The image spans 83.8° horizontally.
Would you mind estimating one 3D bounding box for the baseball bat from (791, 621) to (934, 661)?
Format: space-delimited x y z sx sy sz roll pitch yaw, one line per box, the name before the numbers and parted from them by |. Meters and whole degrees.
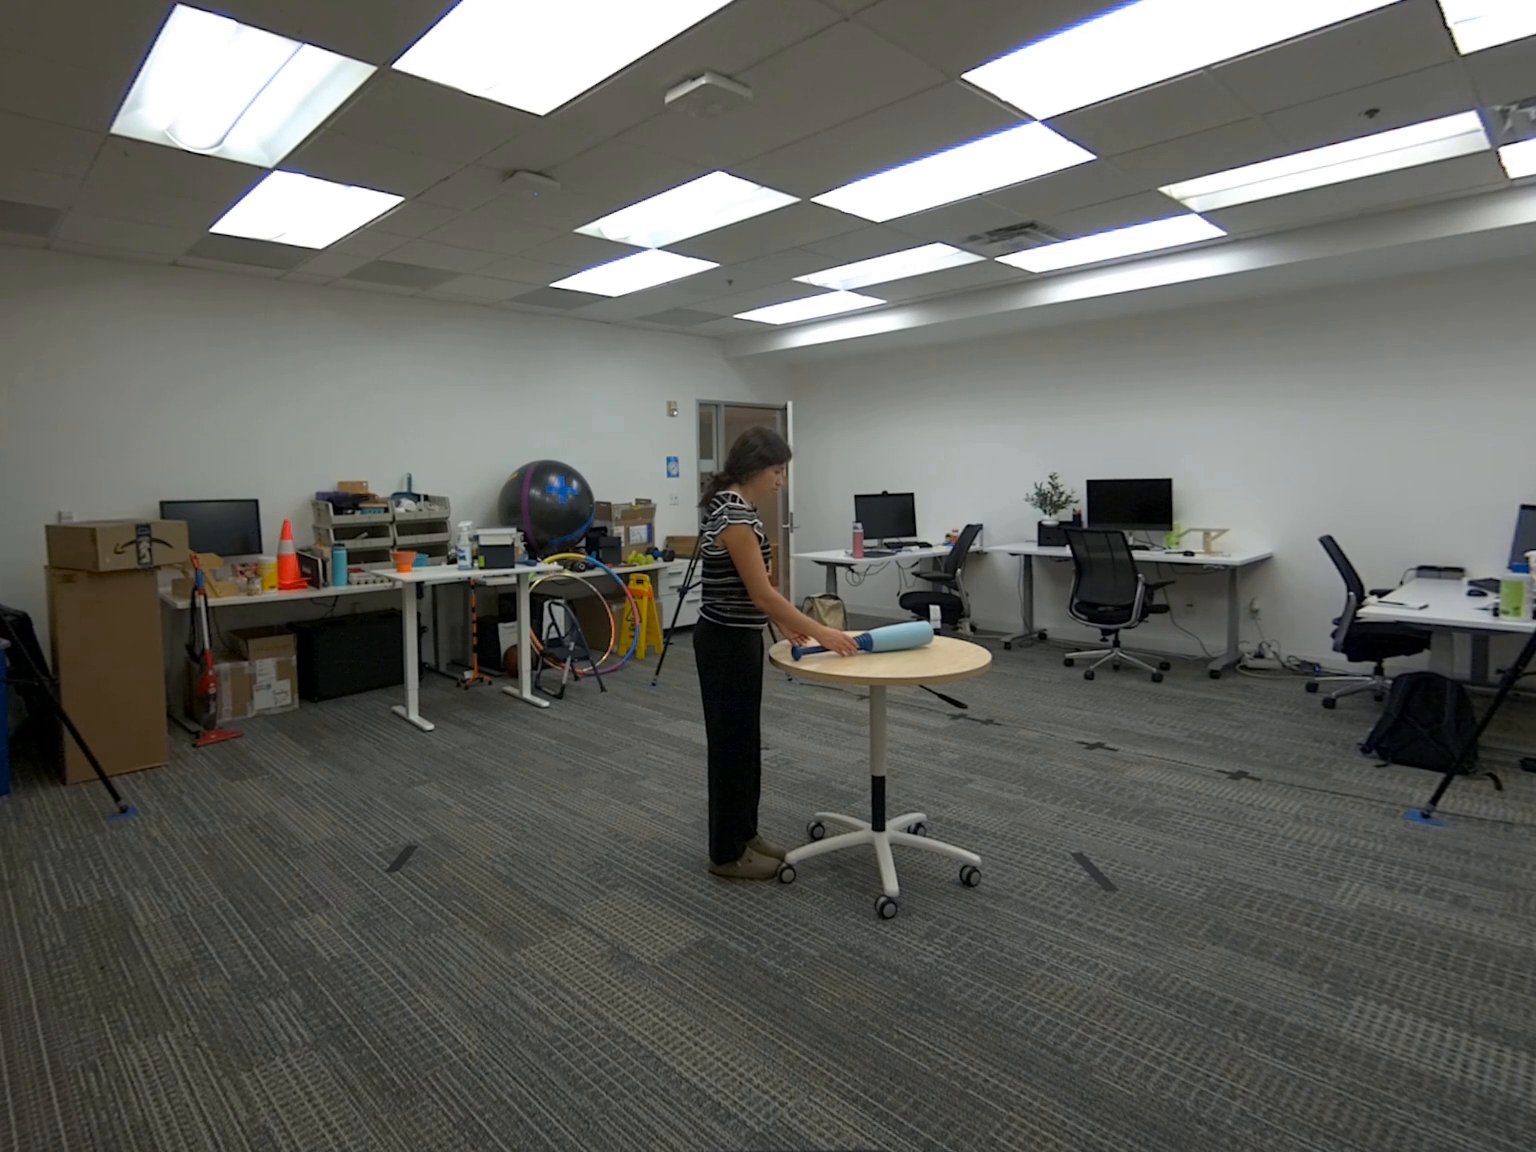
baseball bat | 0.330 0.233 2.974 0.534 0.088 0.091 -7 7 -20
